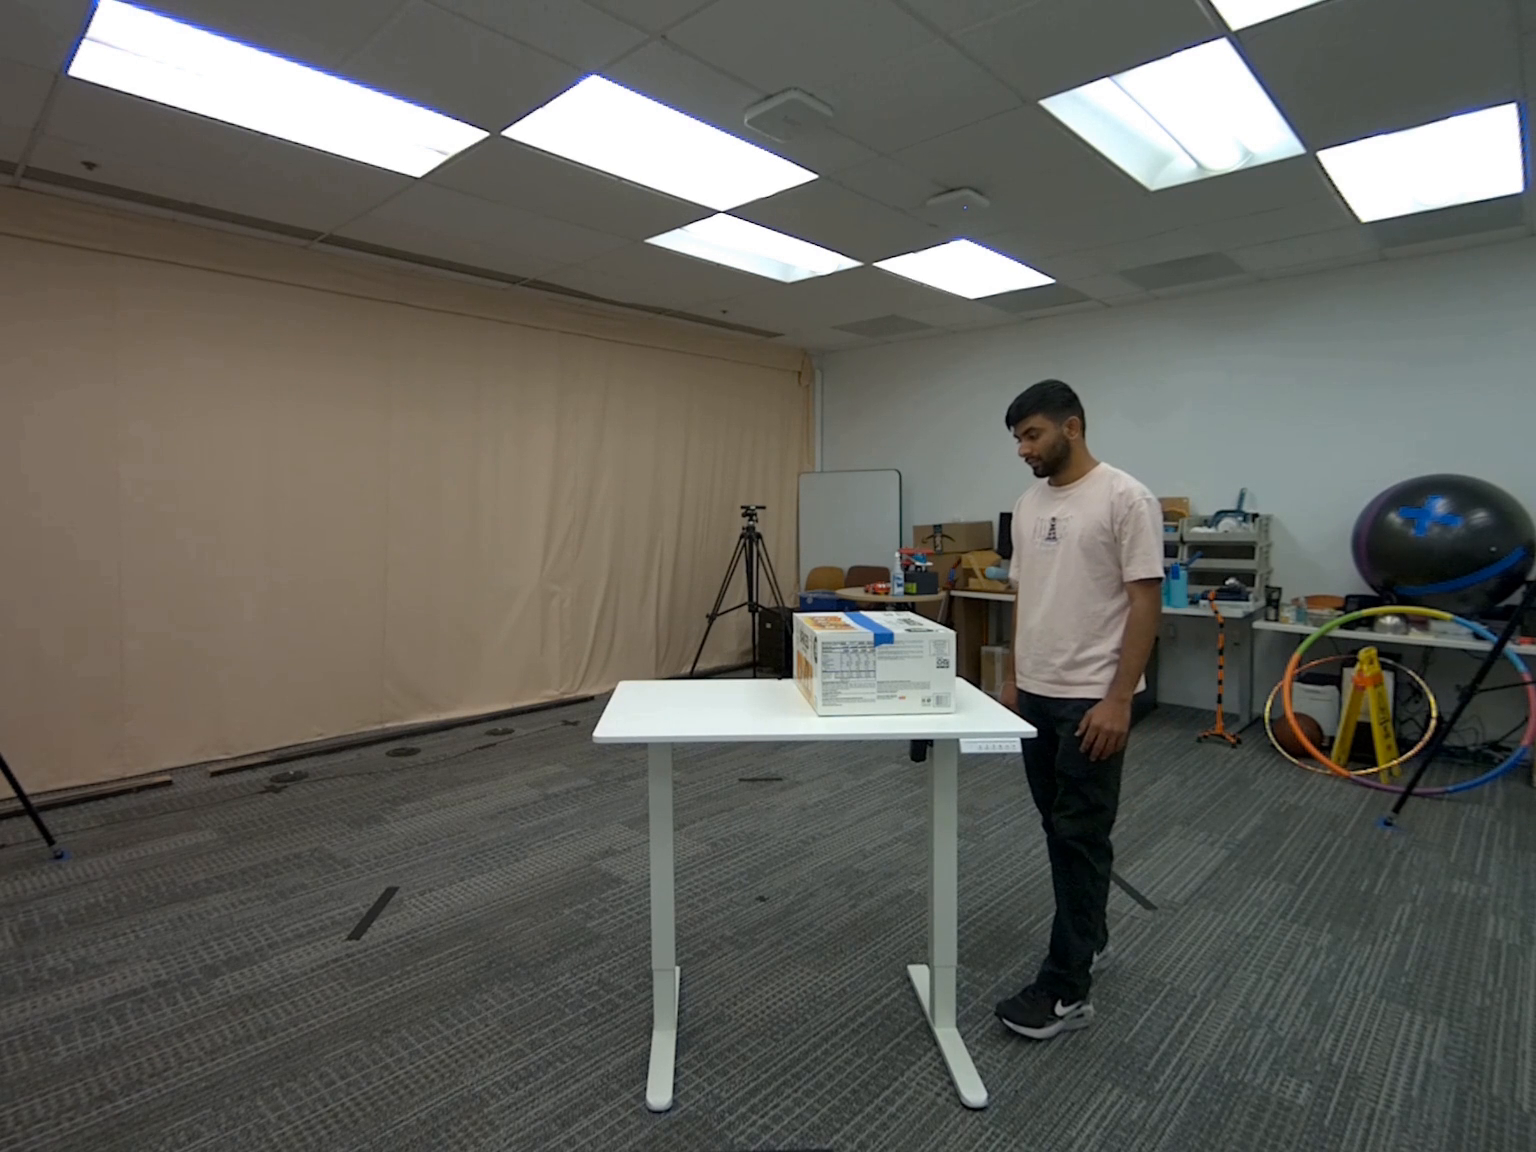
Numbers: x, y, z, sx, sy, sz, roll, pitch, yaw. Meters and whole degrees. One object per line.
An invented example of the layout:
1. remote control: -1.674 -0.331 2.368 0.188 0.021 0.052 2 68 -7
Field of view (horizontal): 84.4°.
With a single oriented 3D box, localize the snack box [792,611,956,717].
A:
1. snack box: 0.271 0.223 2.233 0.339 0.205 0.408 -1 4 -5
